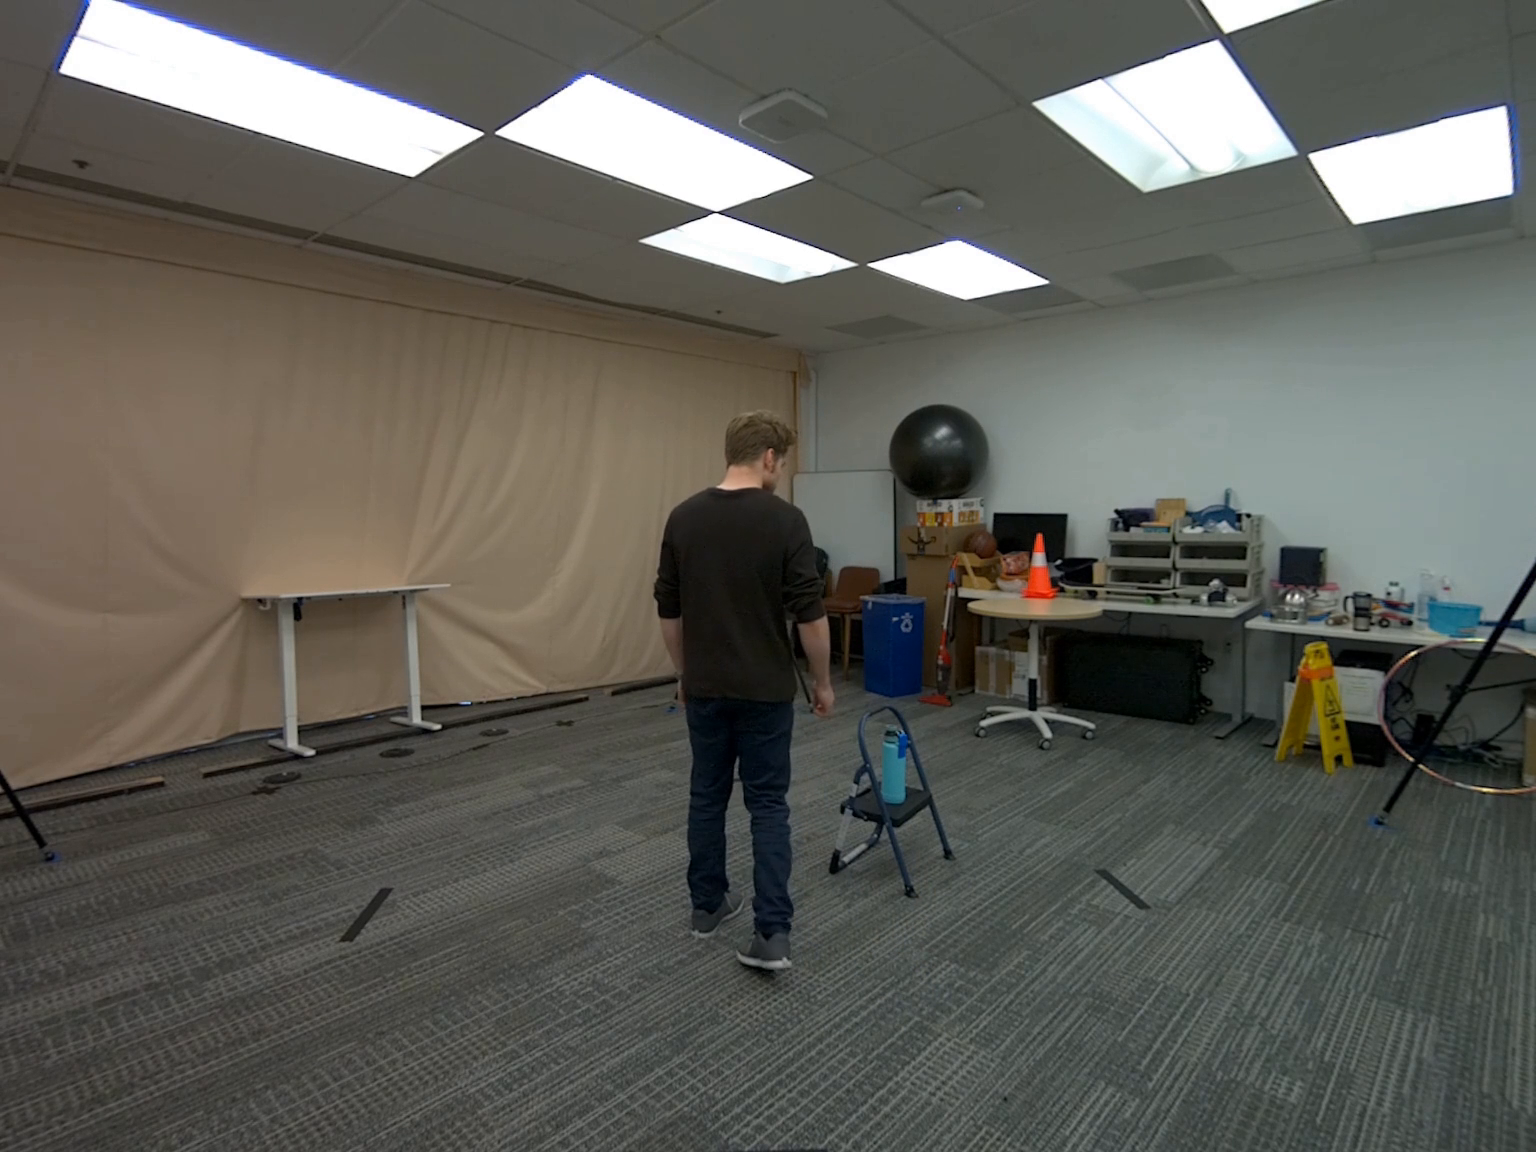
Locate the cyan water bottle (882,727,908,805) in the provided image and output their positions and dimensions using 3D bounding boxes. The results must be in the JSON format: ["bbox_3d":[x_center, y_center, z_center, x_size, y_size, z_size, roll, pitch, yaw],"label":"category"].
[{"bbox_3d":[0.488,0.722,3.229,0.092,0.283,0.092,2,3,-2],"label":"cyan water bottle"}]
